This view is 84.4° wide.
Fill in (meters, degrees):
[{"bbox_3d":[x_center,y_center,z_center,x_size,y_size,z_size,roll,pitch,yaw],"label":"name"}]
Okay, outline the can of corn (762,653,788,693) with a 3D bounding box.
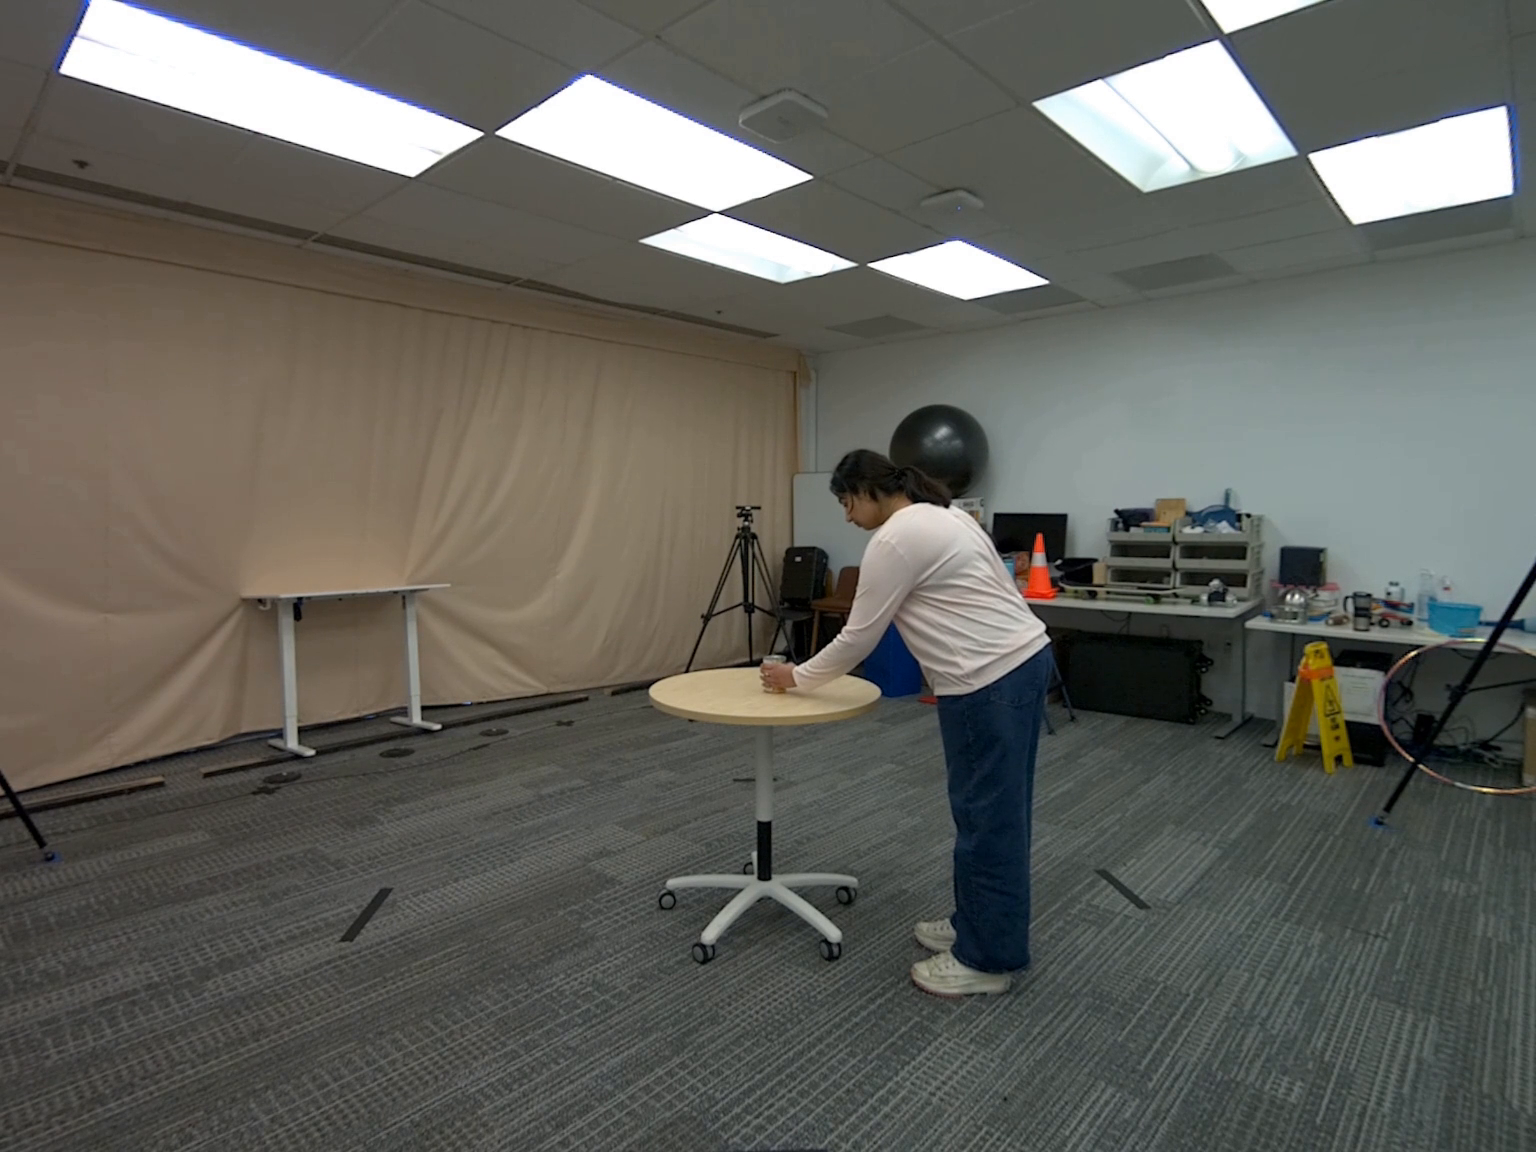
[{"bbox_3d":[0.026,0.321,2.755,0.074,0.111,0.074,-1,2,-2],"label":"can of corn"}]
